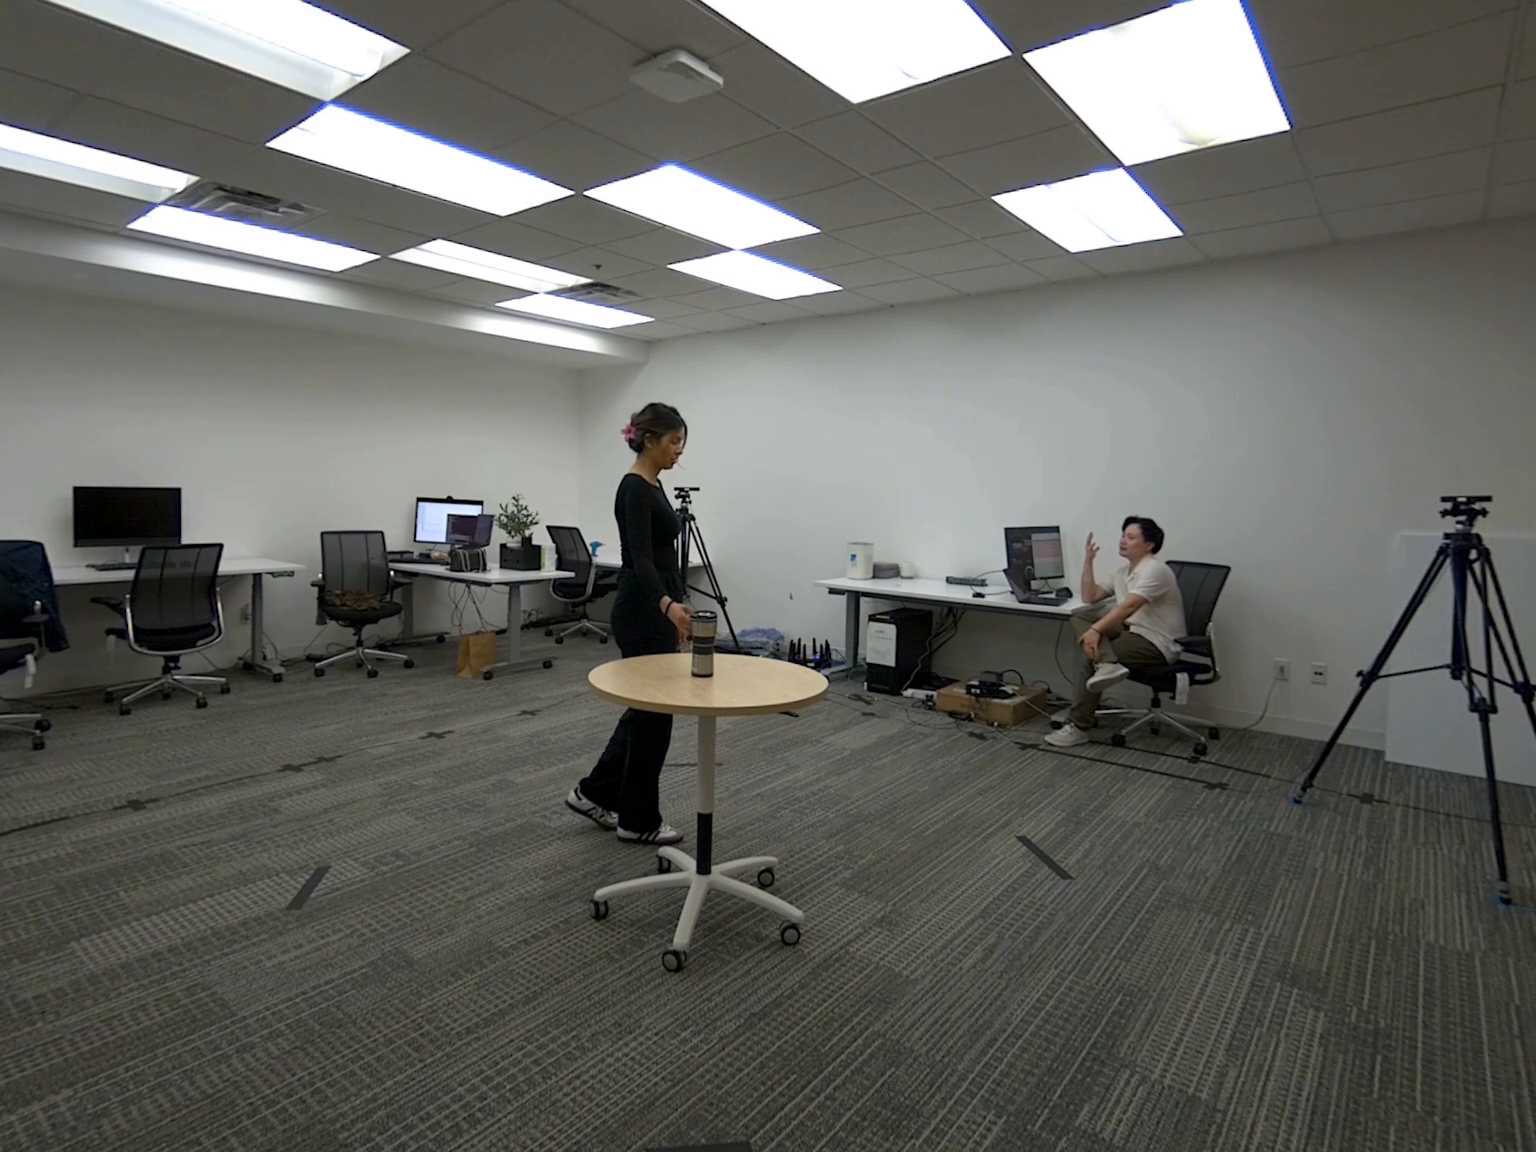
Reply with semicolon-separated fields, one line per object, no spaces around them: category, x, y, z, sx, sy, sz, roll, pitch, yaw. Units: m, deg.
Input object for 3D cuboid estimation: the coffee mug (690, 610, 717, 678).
coffee mug;-0.207;0.219;2.755;0.090;0.202;0.119;0;6;35
